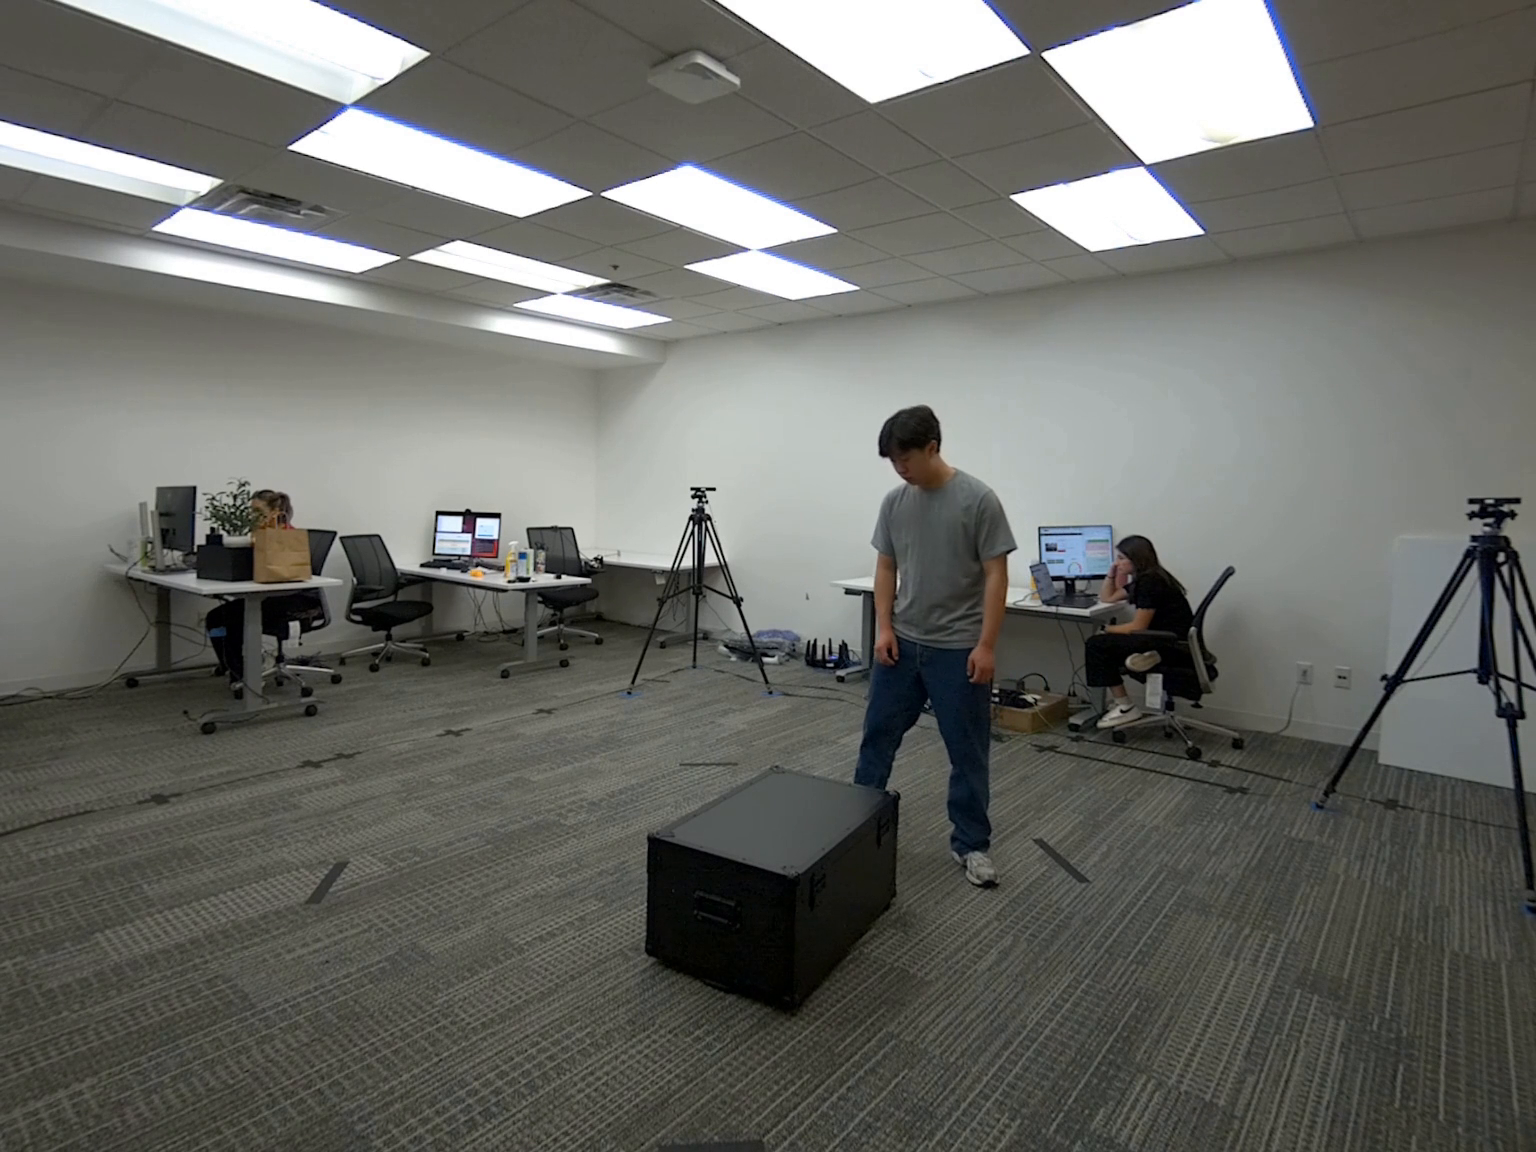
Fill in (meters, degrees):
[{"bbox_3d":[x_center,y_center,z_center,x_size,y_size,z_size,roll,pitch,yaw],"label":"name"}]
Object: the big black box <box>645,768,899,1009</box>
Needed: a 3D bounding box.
[{"bbox_3d":[0.050,0.921,2.699,0.536,0.395,0.839,3,5,29],"label":"big black box"}]
